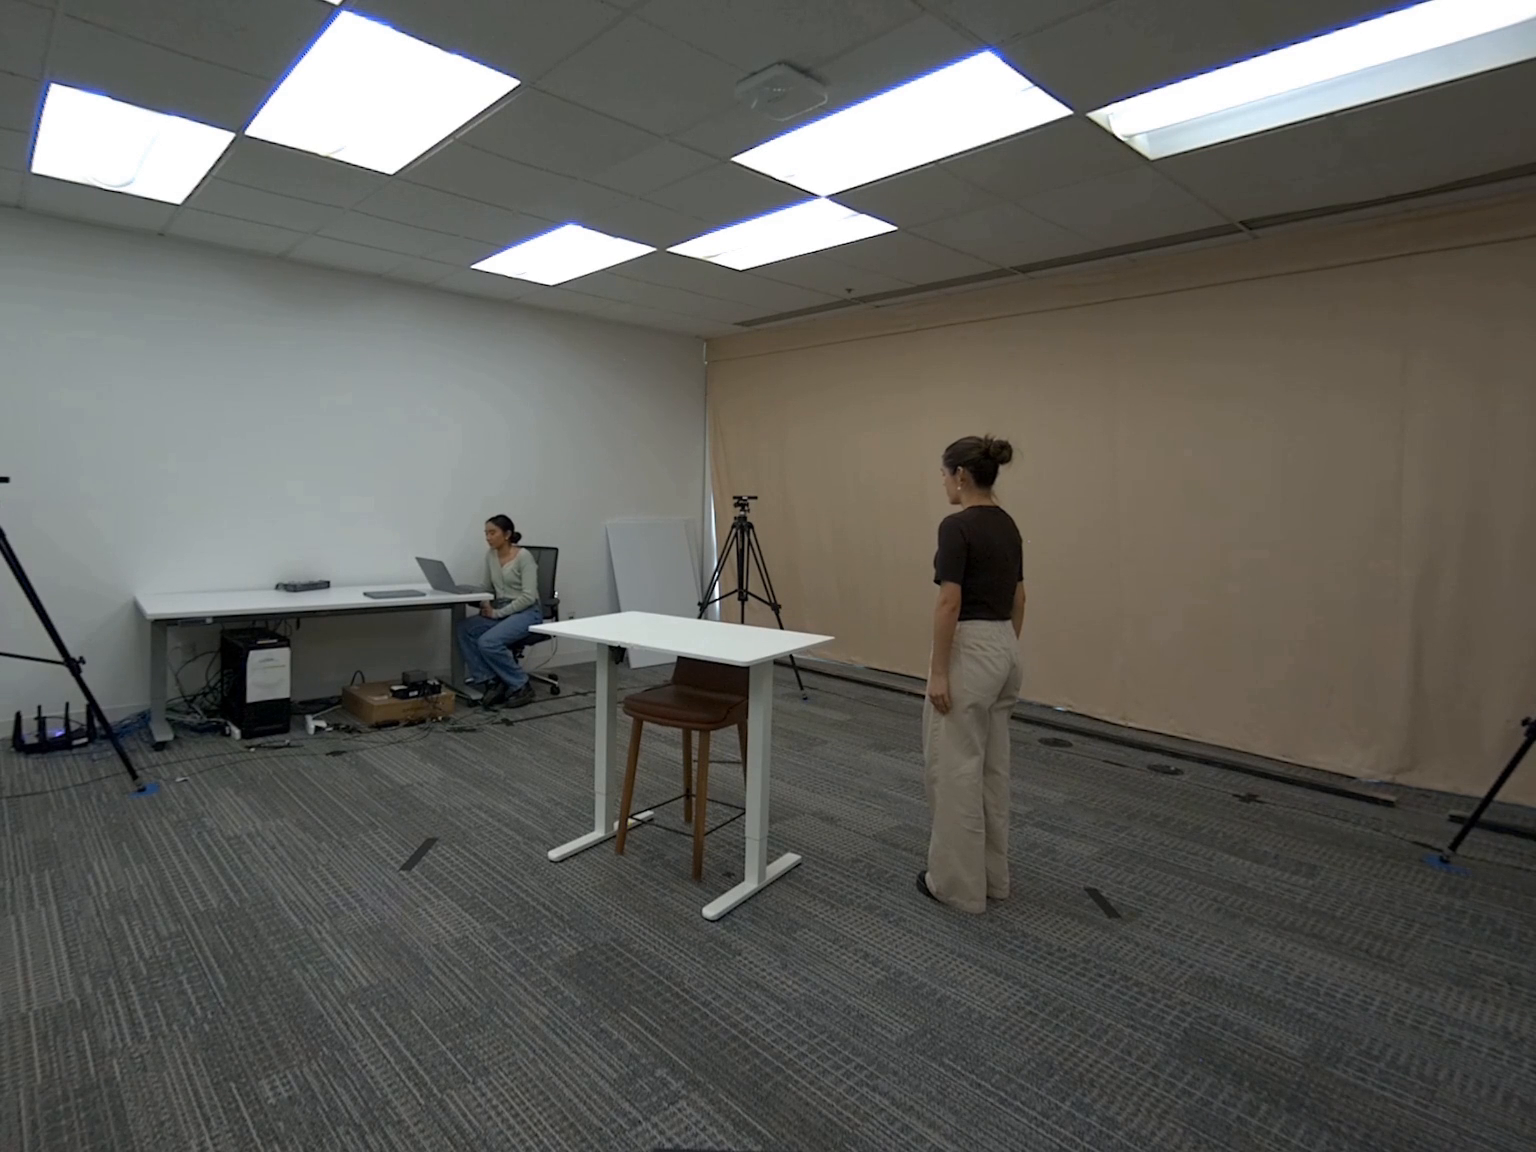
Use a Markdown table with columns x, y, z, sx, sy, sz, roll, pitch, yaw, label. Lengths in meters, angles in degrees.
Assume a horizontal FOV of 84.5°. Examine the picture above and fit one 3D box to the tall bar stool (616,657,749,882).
| x | y | z | sx | sy | sz | roll | pitch | yaw | label |
| --- | --- | --- | --- | --- | --- | --- | --- | --- | --- |
| -0.294 | 0.647 | 3.313 | 0.467 | 0.888 | 0.457 | 4 | 3 | 34 | tall bar stool |
